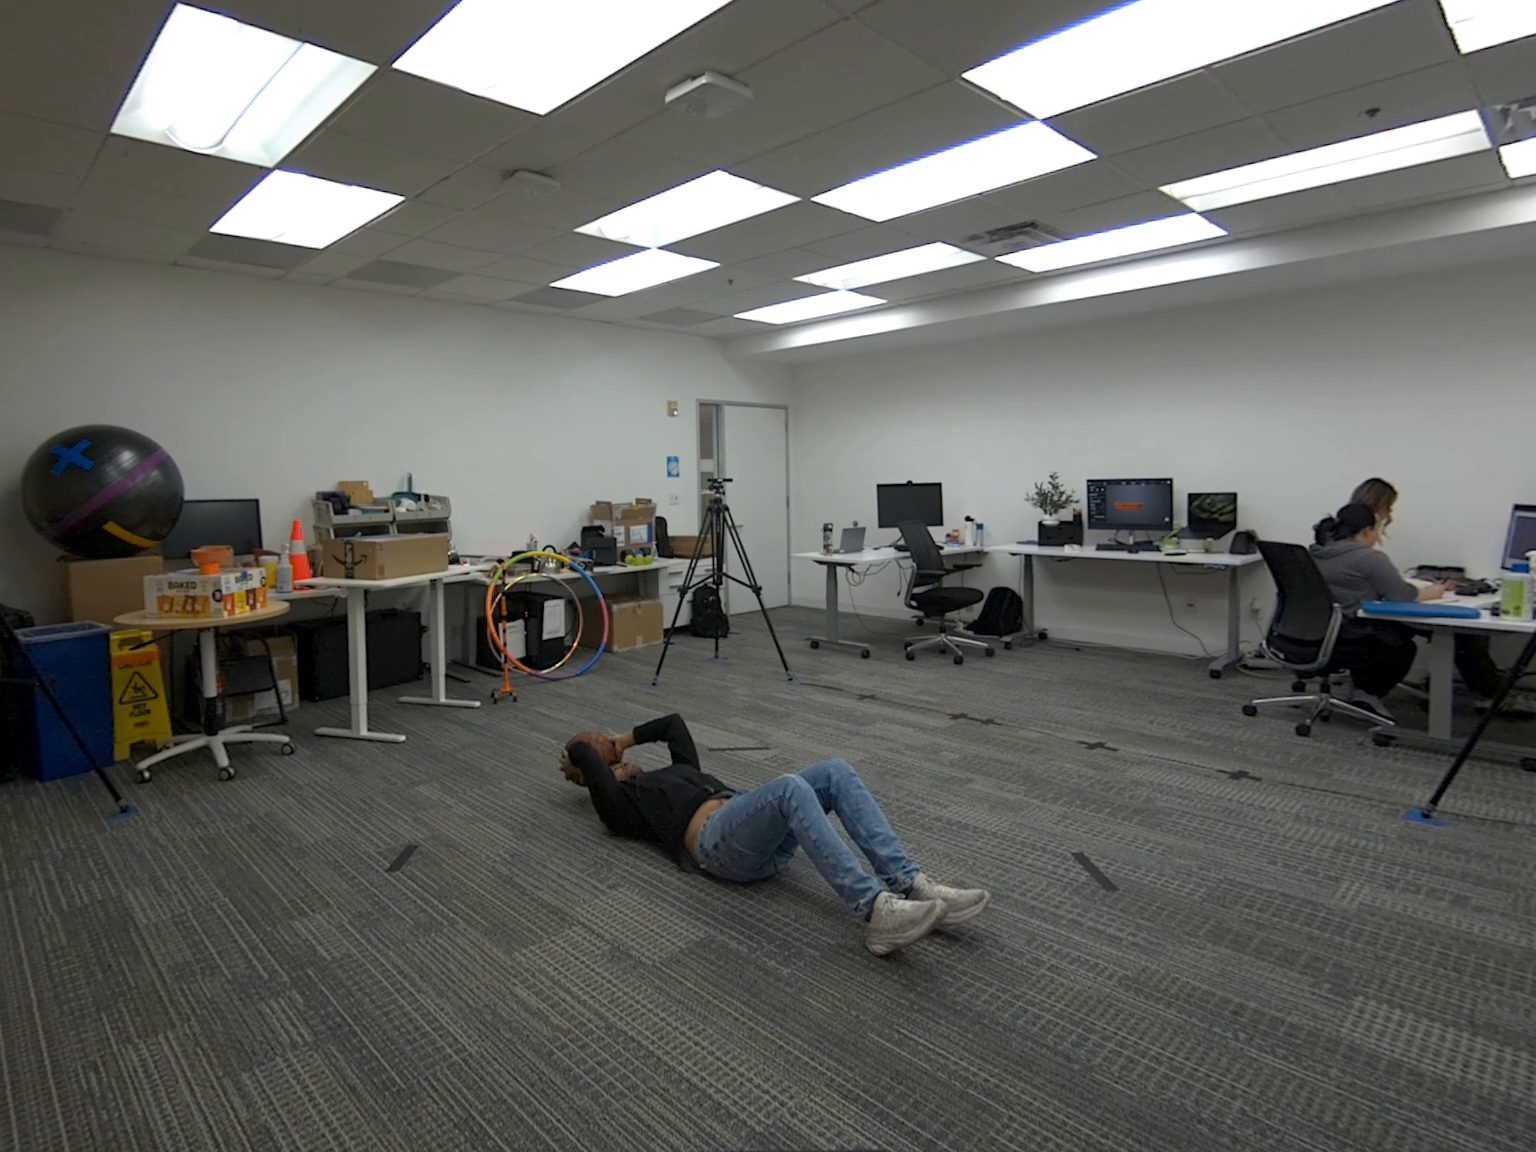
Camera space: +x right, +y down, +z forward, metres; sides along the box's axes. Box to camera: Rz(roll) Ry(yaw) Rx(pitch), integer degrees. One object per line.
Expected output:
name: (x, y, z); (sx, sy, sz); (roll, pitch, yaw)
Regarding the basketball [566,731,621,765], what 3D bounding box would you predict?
basketball: (-0.786, 0.786, 3.773); (0.236, 0.235, 0.237); (-1, 5, -2)
